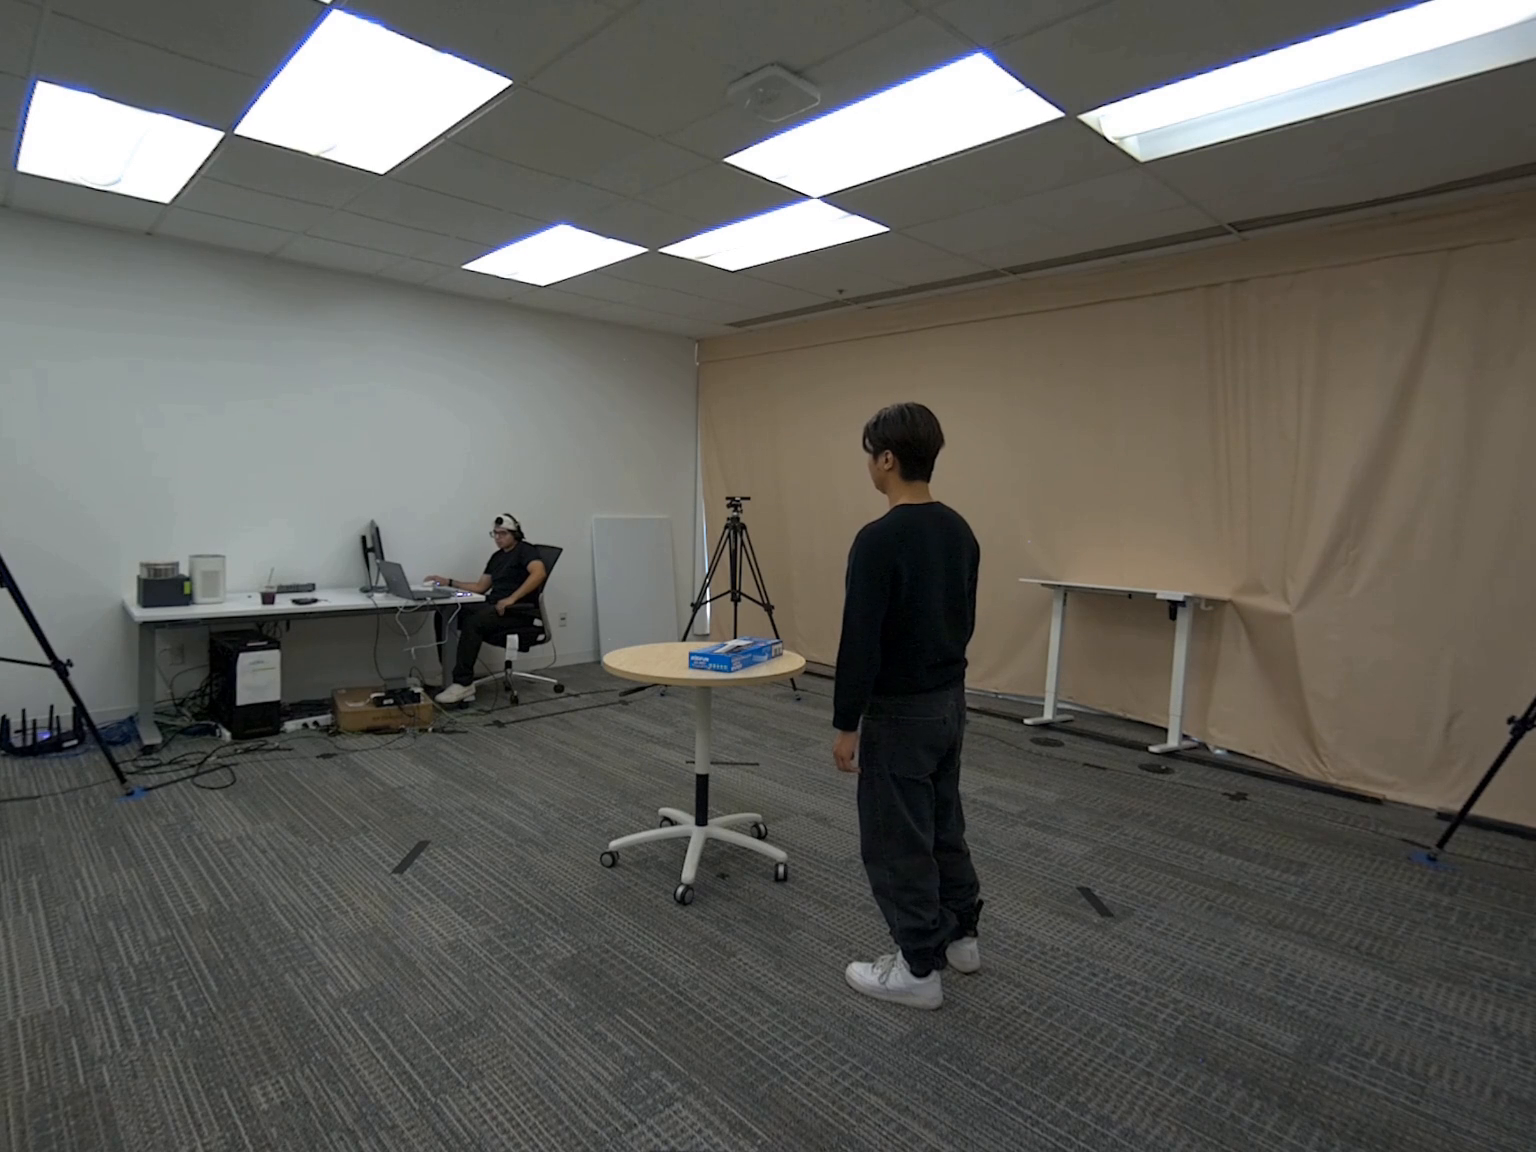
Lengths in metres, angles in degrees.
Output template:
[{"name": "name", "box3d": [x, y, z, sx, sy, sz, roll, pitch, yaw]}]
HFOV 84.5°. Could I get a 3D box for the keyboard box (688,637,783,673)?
[{"name": "keyboard box", "box3d": [-0.125, 0.290, 3.150, 0.179, 0.059, 0.429, 3, 5, 26]}]
